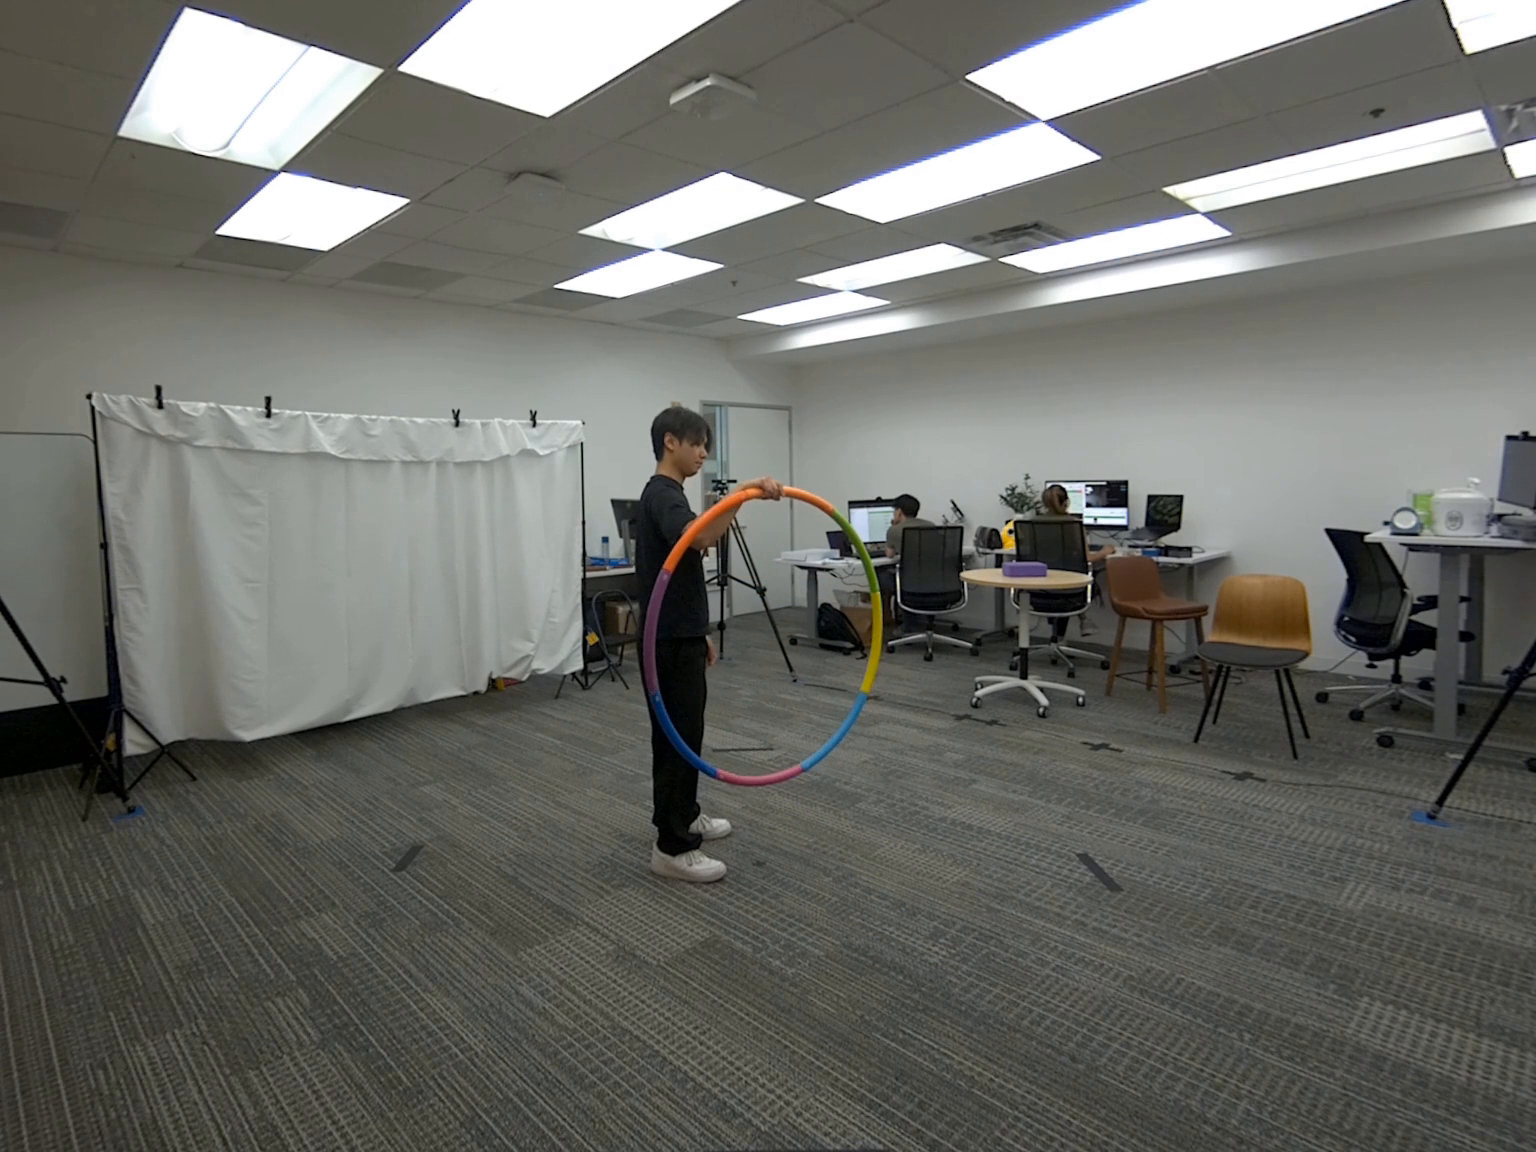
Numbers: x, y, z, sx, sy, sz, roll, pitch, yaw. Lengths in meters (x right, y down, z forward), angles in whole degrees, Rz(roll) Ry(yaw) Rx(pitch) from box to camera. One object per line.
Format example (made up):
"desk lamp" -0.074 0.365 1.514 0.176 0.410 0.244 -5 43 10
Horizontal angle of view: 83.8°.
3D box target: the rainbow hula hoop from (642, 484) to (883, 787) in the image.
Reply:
"rainbow hula hoop" 0.020 0.198 2.841 0.953 0.975 0.036 -5 5 -37
